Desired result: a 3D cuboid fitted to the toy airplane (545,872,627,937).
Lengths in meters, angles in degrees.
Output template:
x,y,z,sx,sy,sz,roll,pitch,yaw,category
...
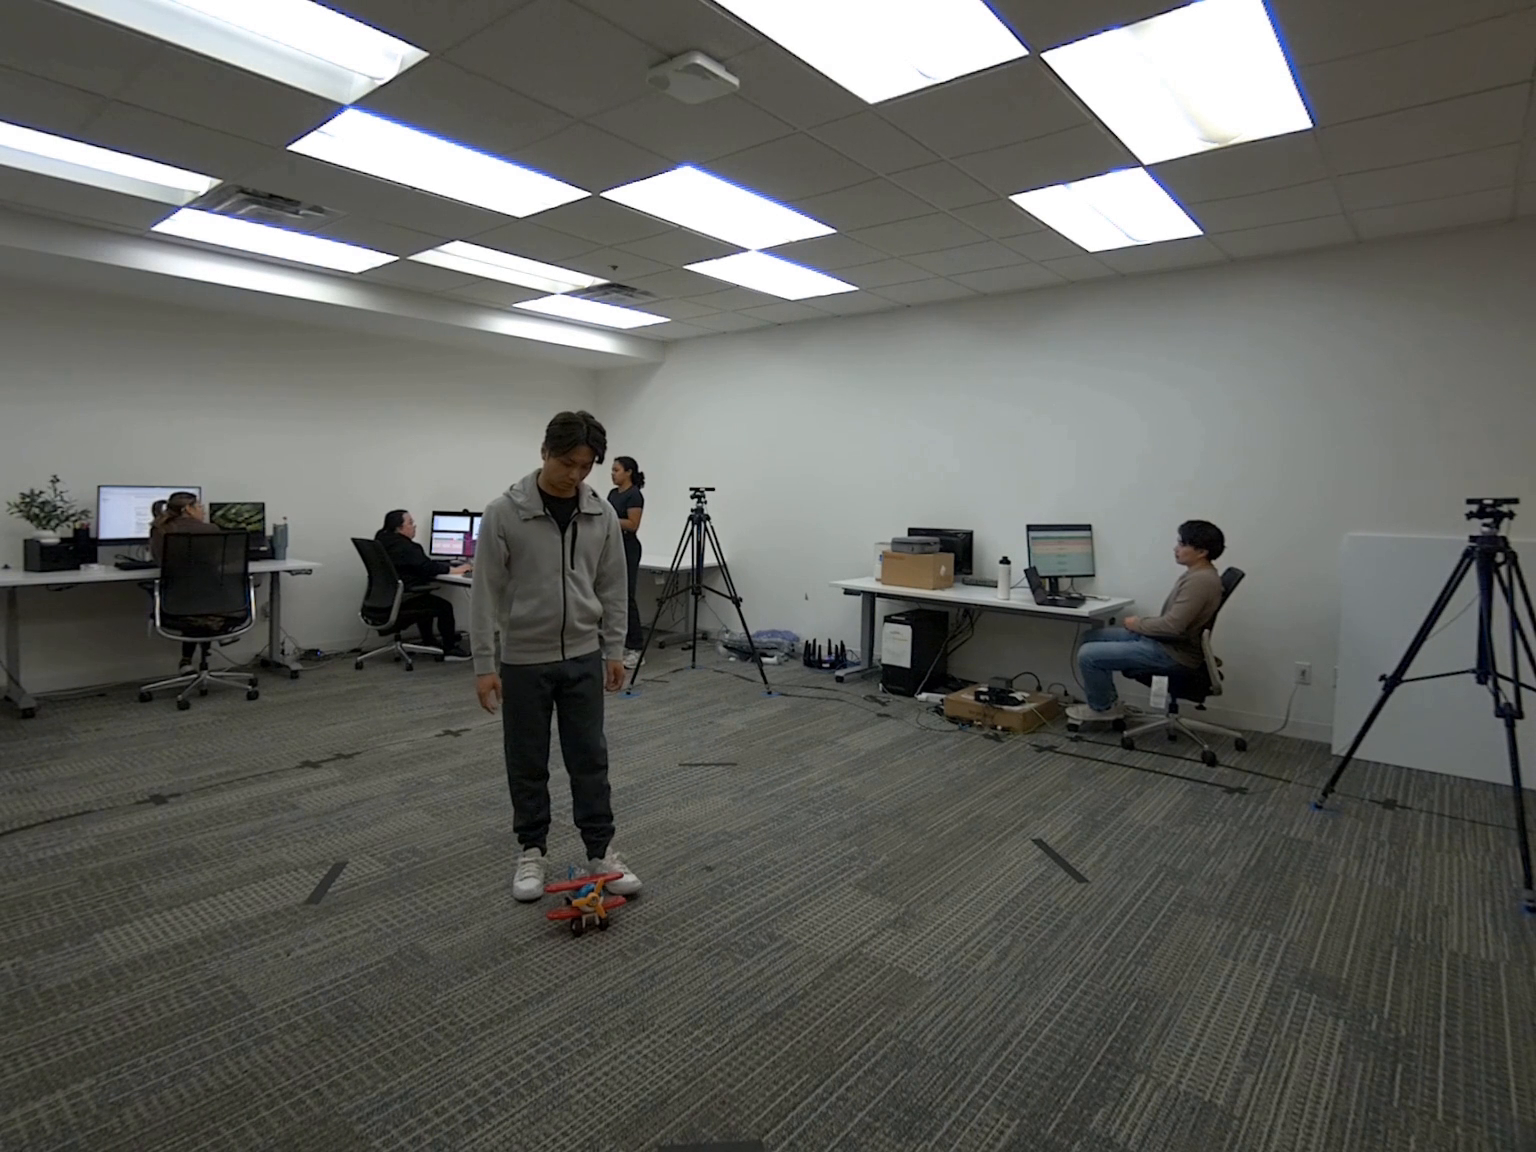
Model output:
x,y,z,sx,sy,sz,roll,pitch,yaw,category
-0.618,1.024,2.716,0.267,0.156,0.244,5,7,35,toy airplane
